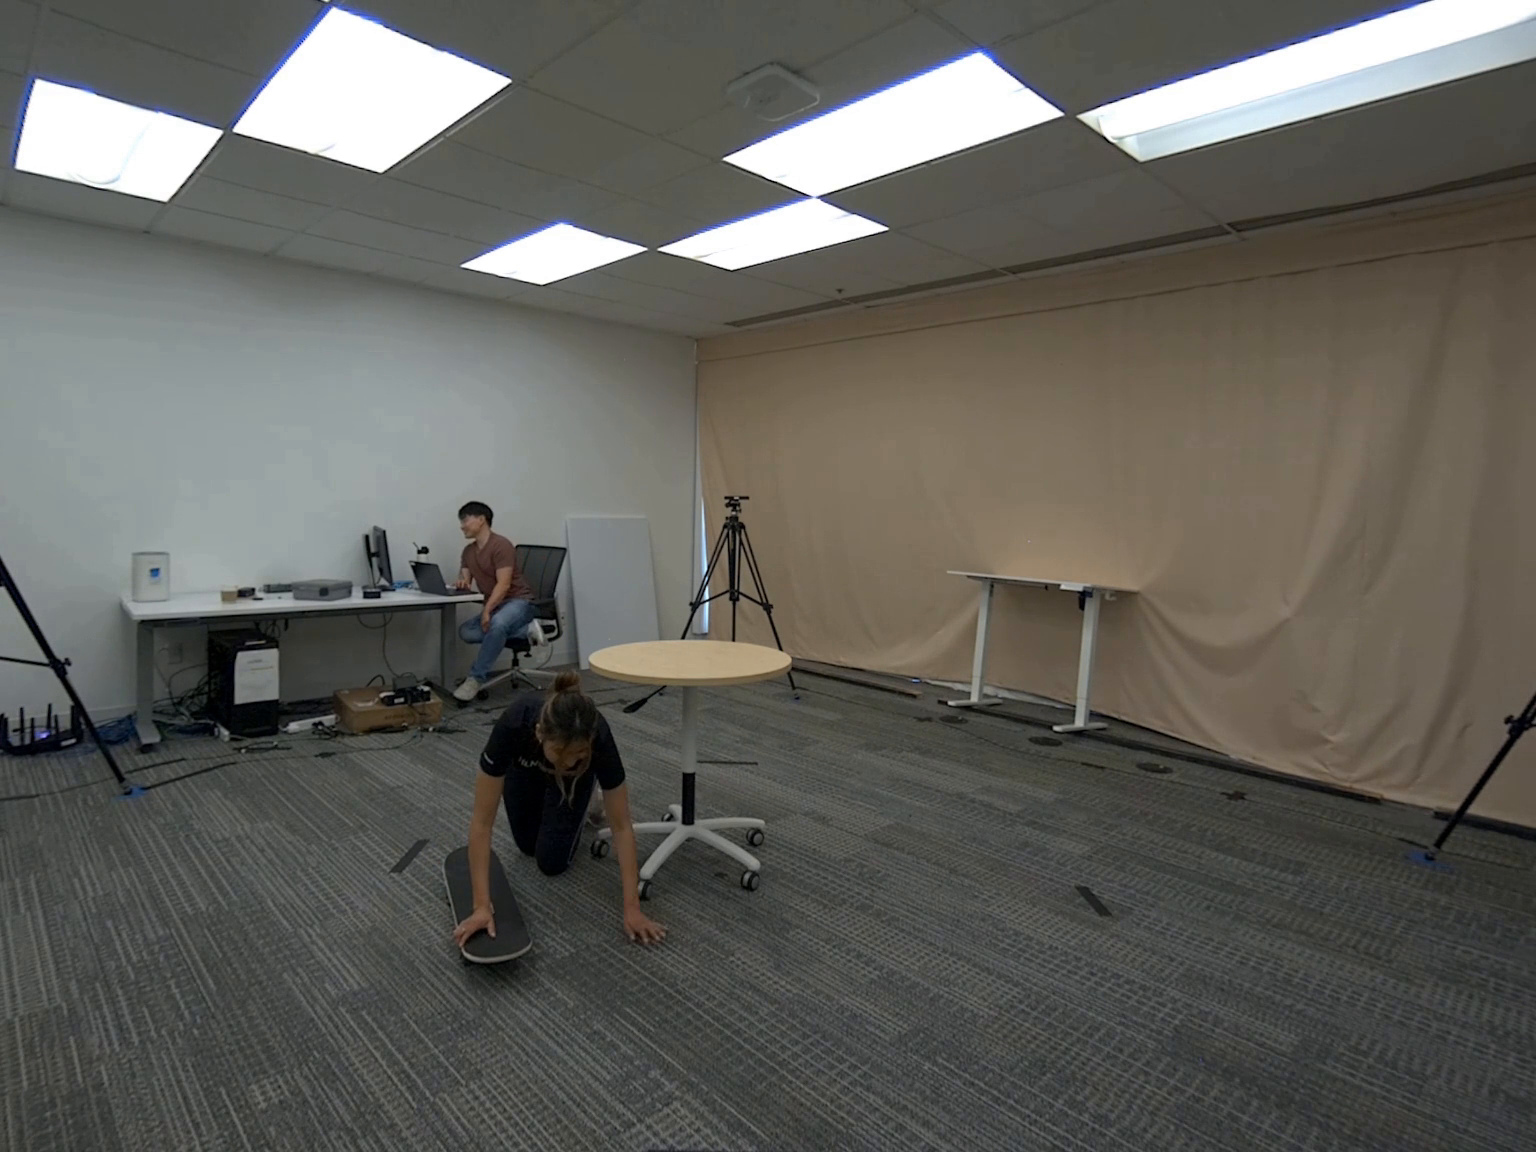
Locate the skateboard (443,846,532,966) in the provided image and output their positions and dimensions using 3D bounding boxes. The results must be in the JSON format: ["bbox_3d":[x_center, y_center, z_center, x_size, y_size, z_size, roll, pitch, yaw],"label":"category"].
[{"bbox_3d":[-0.928,1.076,2.691,0.190,0.110,0.801,-2,7,-24],"label":"skateboard"}]
